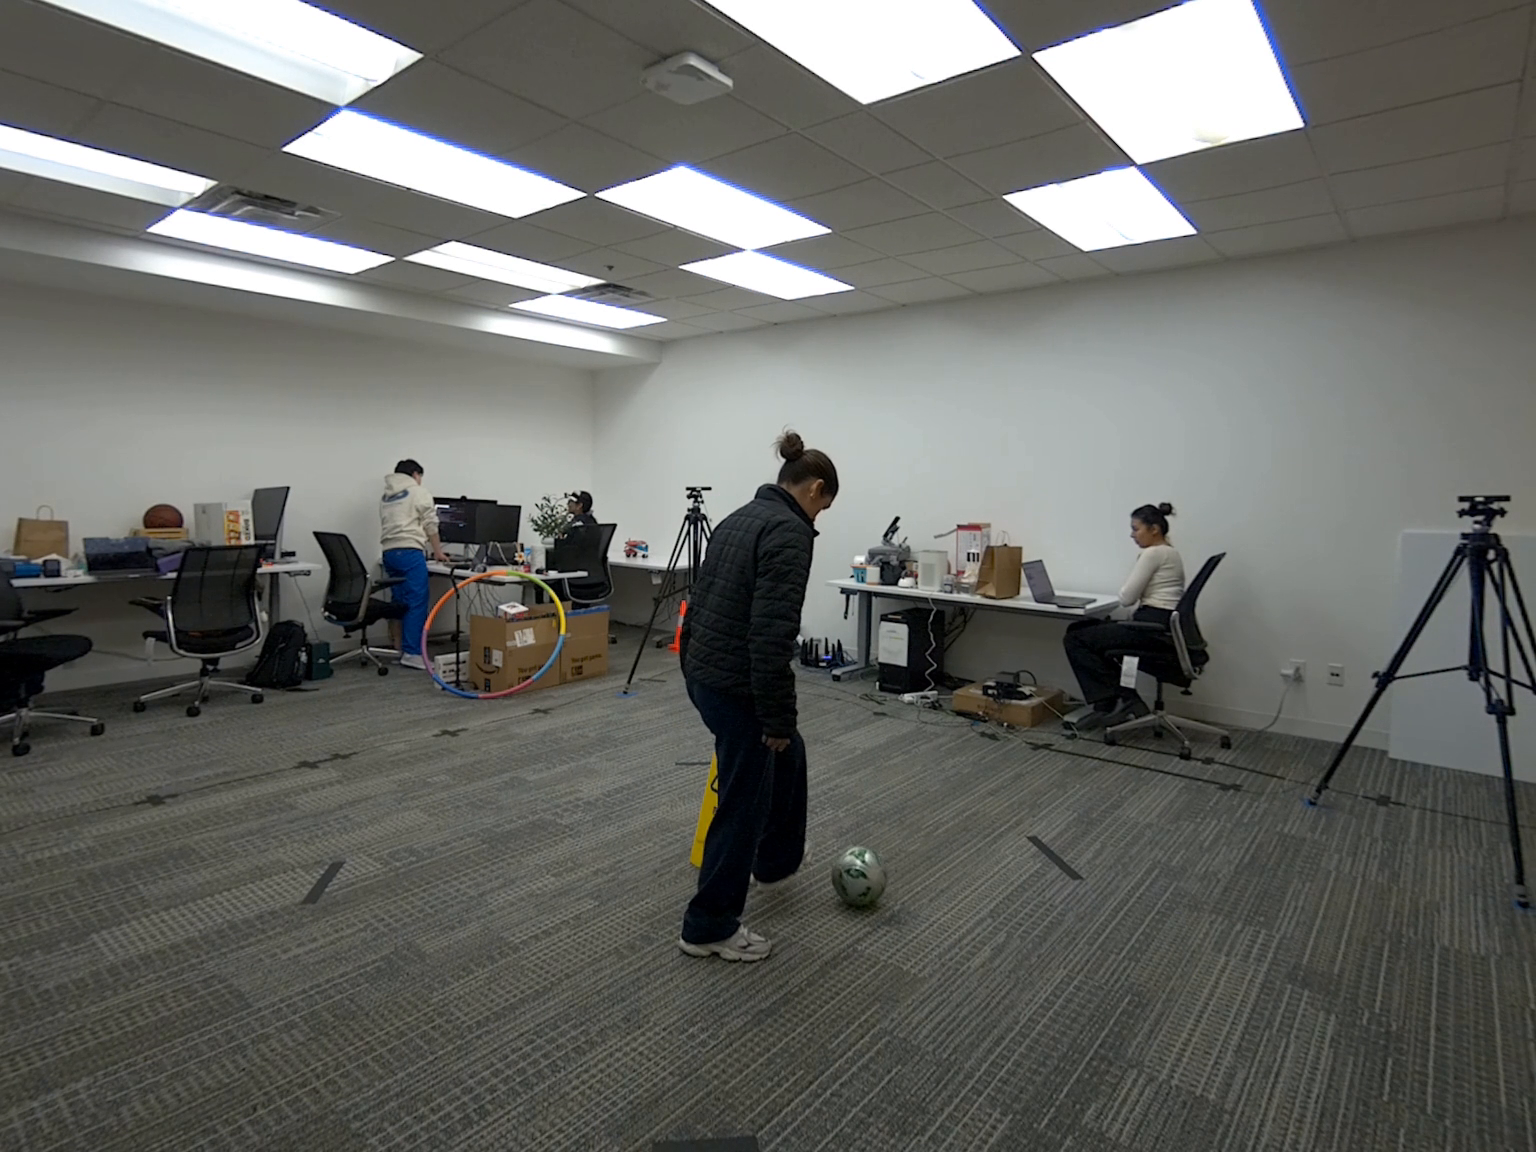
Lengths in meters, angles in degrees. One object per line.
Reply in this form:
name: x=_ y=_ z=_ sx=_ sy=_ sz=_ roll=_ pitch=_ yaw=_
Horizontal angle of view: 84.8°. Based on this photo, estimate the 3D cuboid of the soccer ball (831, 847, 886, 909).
soccer ball: x=0.301 y=1.011 z=2.861 sx=0.187 sy=0.187 sz=0.188 roll=1 pitch=4 yaw=-2
